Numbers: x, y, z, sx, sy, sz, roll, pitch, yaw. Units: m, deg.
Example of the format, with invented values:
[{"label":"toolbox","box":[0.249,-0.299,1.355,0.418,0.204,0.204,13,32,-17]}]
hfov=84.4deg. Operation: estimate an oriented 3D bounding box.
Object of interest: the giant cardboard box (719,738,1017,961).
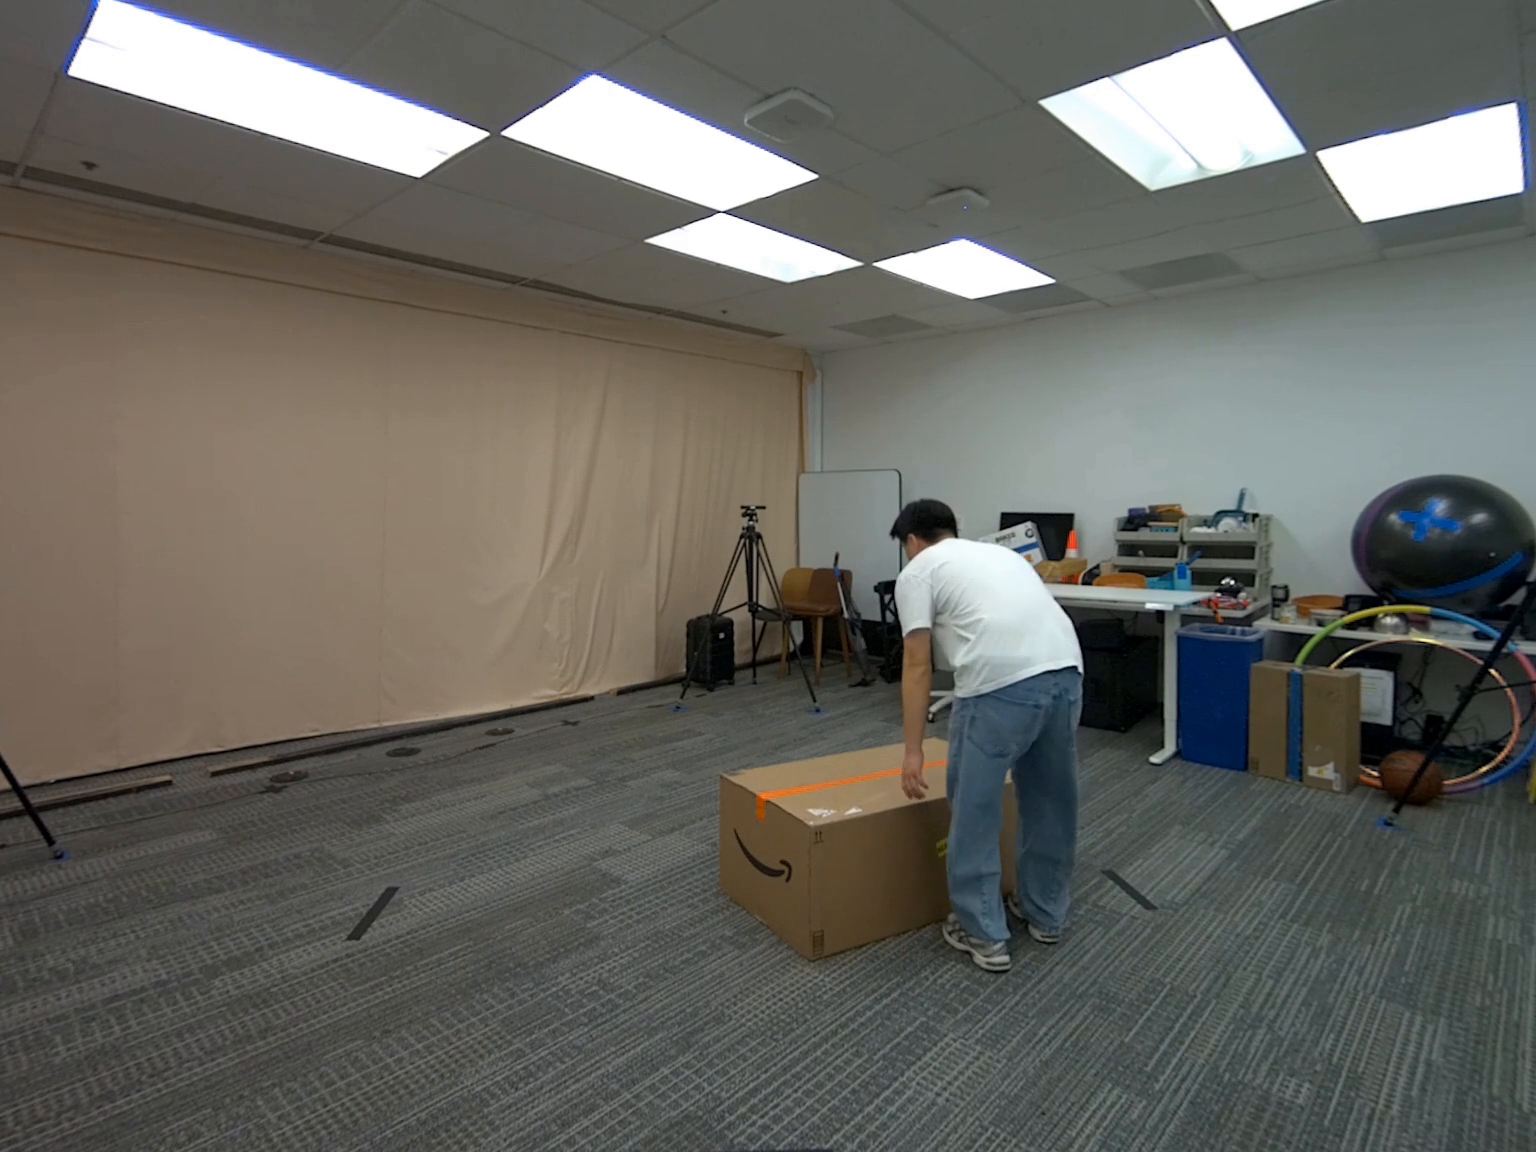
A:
[{"label":"giant cardboard box","box":[0.407,0.924,3.046,0.998,0.425,0.595,-3,5,-30]}]
